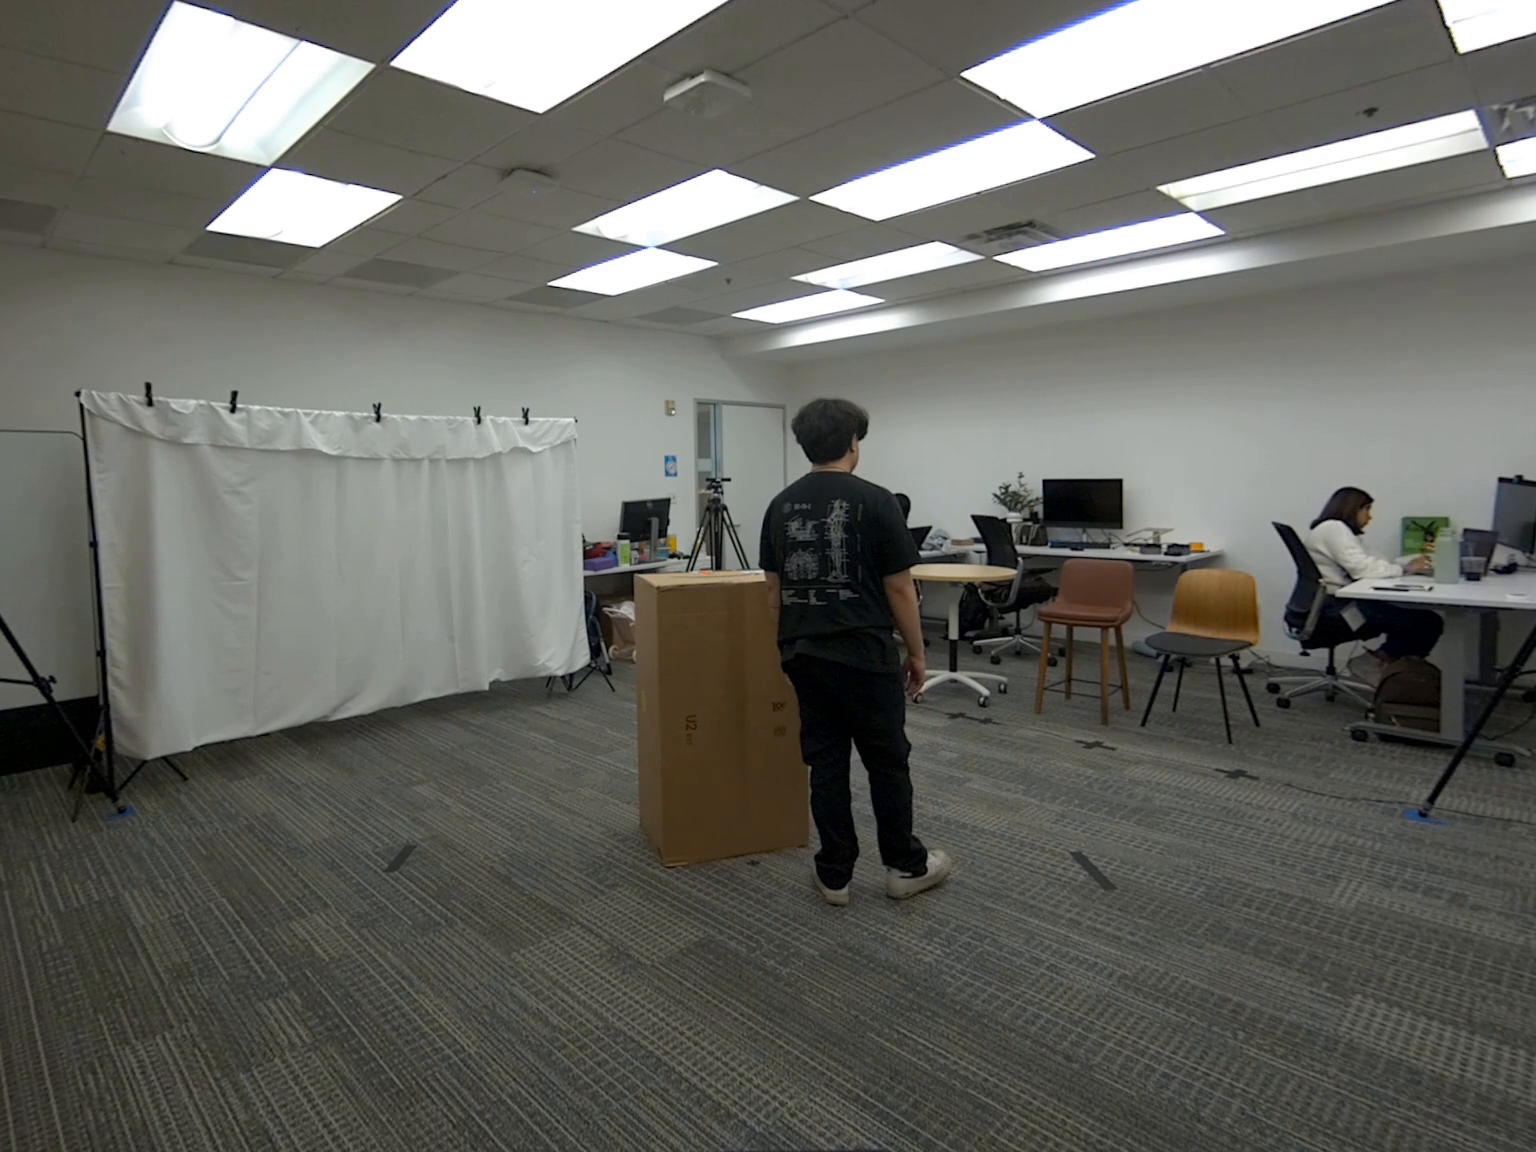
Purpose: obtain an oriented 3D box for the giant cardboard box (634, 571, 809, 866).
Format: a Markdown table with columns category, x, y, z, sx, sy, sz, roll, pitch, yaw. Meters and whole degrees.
| category | x | y | z | sx | sy | sz | roll | pitch | yaw |
| --- | --- | --- | --- | --- | --- | --- | --- | --- | --- |
| giant cardboard box | -0.192 | 0.506 | 3.332 | 0.575 | 1.024 | 0.455 | -2 | 4 | -18 |
